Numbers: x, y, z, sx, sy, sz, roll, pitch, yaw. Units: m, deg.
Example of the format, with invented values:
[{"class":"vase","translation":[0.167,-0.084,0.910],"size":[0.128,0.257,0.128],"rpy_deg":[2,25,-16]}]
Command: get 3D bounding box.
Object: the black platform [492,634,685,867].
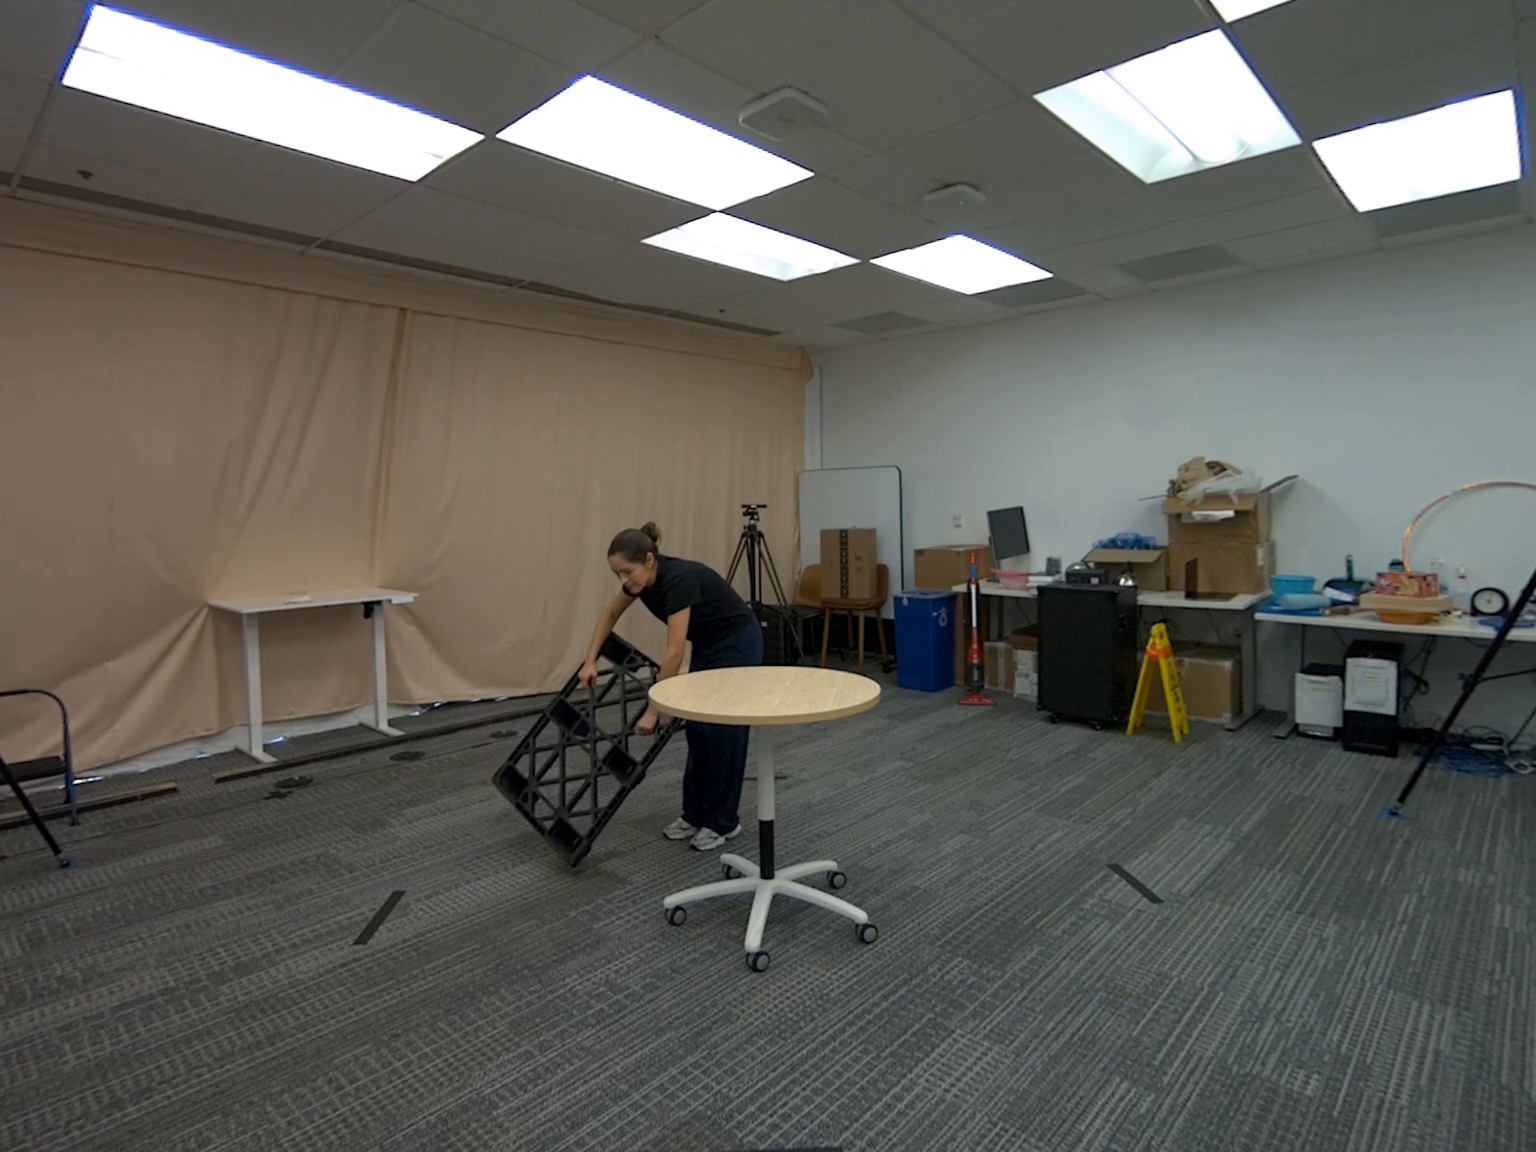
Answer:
[{"class":"black platform","translation":[-0.678,0.682,3.437],"size":[0.627,0.804,0.138],"rpy_deg":[28,-14,38]}]
